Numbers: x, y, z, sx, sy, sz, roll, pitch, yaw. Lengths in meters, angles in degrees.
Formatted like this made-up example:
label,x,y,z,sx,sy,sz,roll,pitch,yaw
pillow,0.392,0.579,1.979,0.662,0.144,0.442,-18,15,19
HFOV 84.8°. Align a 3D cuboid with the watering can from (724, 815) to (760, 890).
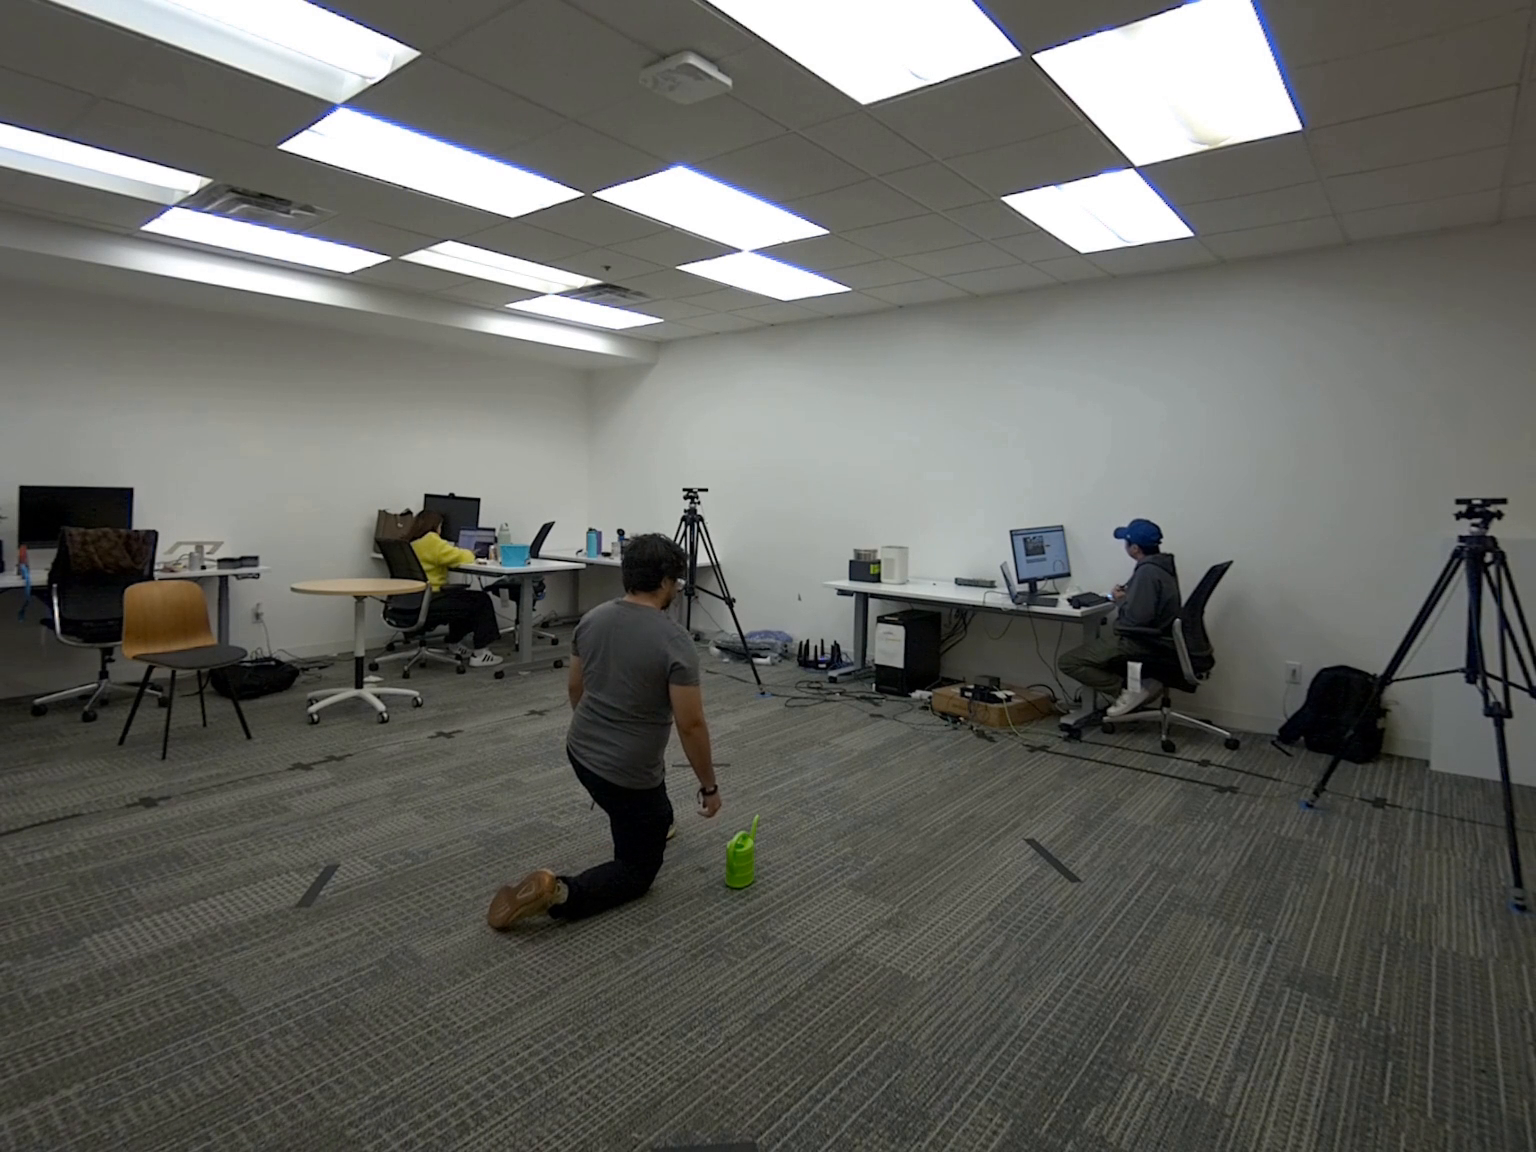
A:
label,x,y,z,sx,sy,sz,roll,pitch,yaw
watering can,-0.084,0.991,3.047,0.101,0.176,0.270,4,6,34
